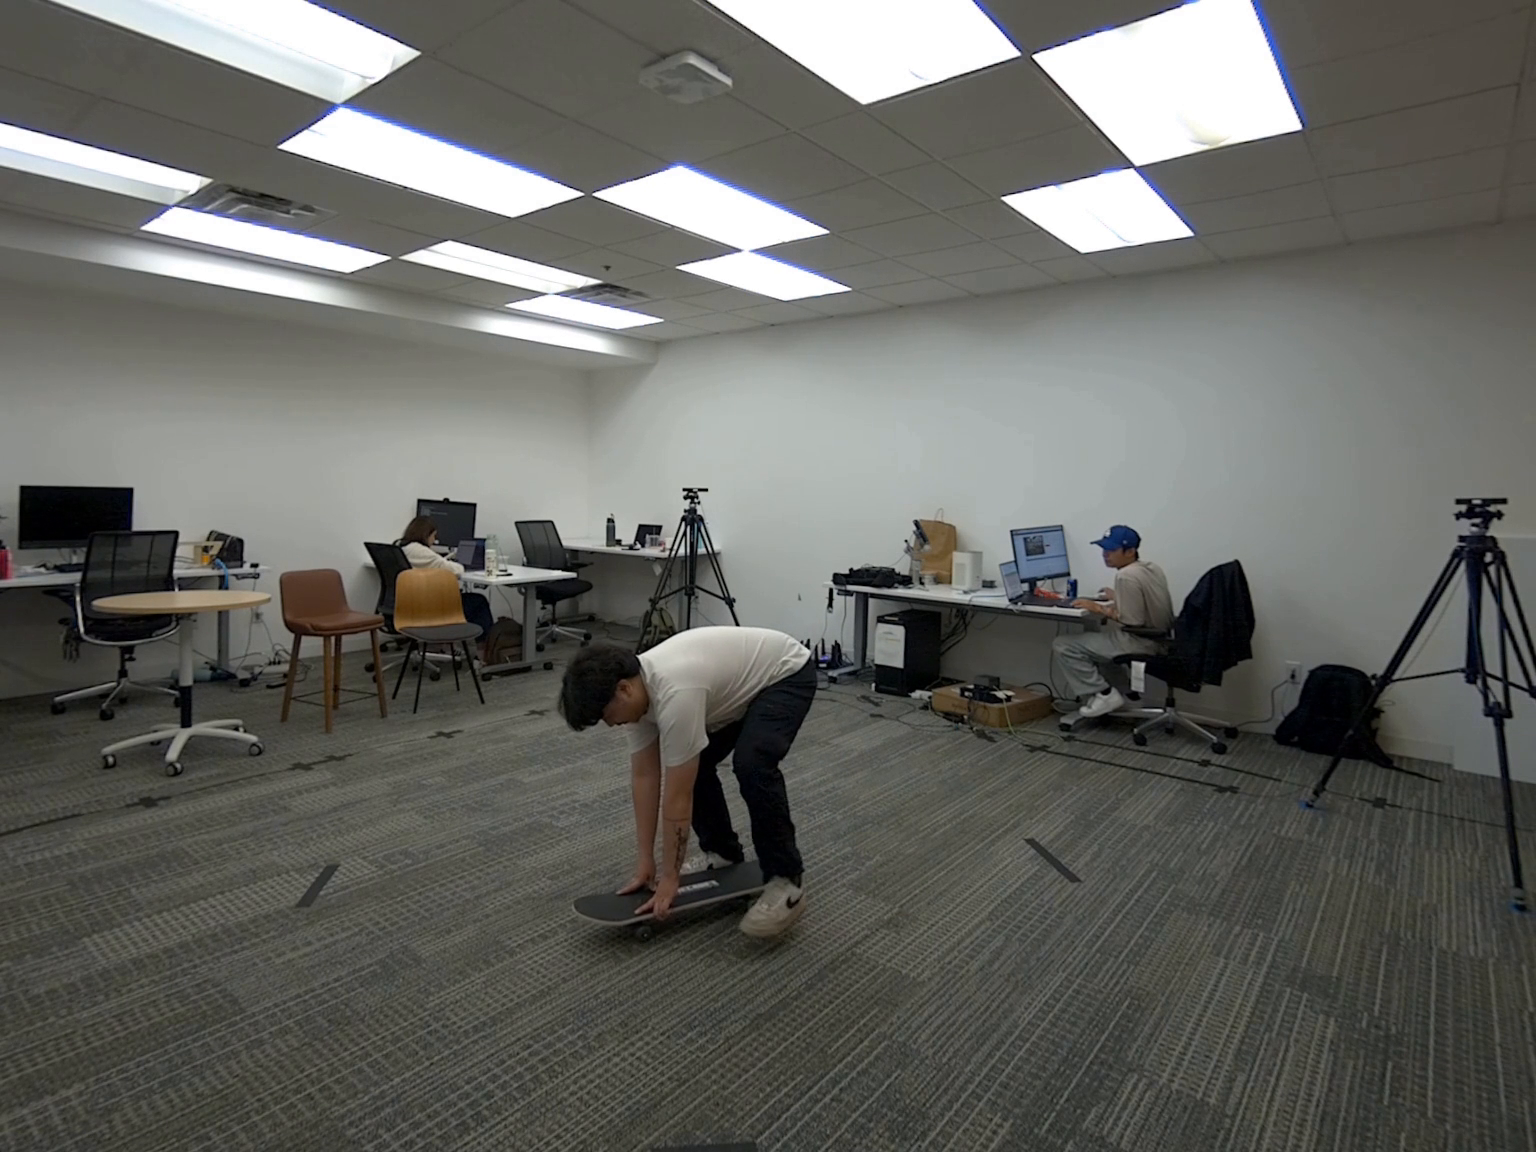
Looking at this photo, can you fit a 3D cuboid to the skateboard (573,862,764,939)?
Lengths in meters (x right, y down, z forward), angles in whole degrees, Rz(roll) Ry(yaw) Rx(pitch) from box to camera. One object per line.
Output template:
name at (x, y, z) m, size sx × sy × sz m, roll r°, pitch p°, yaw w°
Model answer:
skateboard at (-0.259, 1.048, 2.772) m, size 0.765 × 0.110 × 0.199 m, roll -2°, pitch 6°, yaw -29°
